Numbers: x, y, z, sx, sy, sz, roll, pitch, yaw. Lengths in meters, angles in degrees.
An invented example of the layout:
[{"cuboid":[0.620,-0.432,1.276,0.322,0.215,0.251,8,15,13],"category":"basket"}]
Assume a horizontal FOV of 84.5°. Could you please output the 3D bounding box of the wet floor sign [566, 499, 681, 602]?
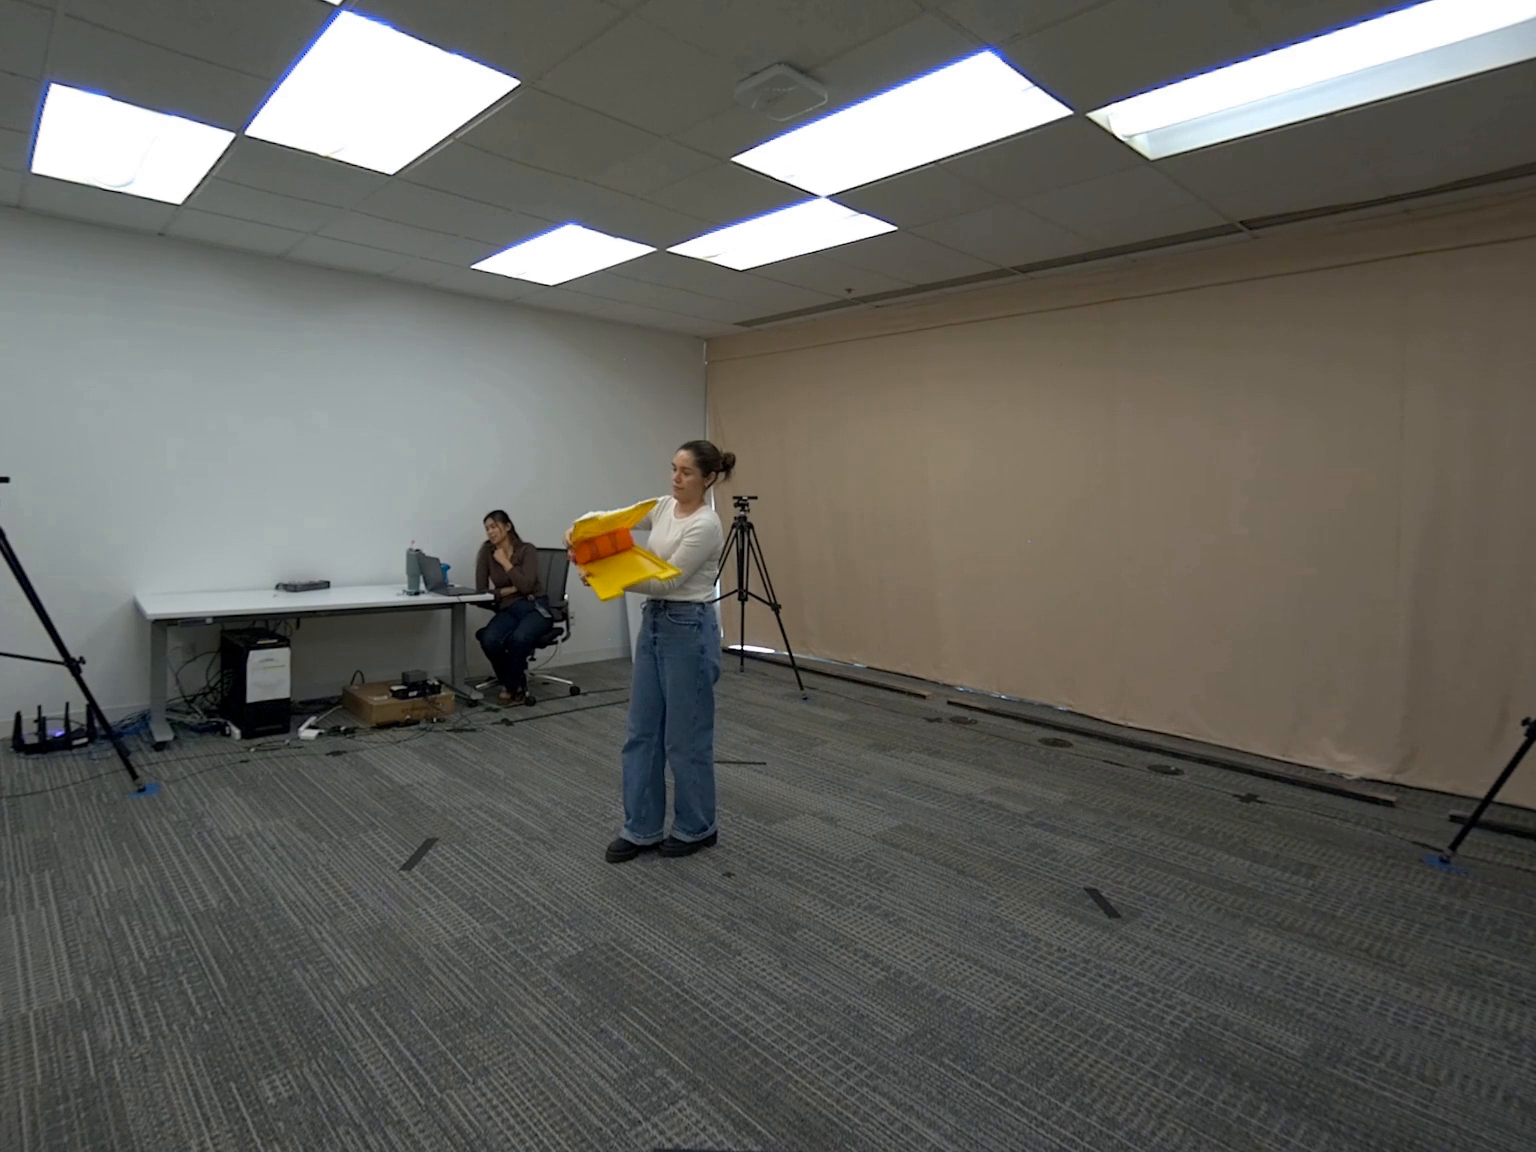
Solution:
[{"cuboid":[-0.570,-0.091,2.971,0.280,0.287,0.657,-19,10,-18],"category":"wet floor sign"}]
